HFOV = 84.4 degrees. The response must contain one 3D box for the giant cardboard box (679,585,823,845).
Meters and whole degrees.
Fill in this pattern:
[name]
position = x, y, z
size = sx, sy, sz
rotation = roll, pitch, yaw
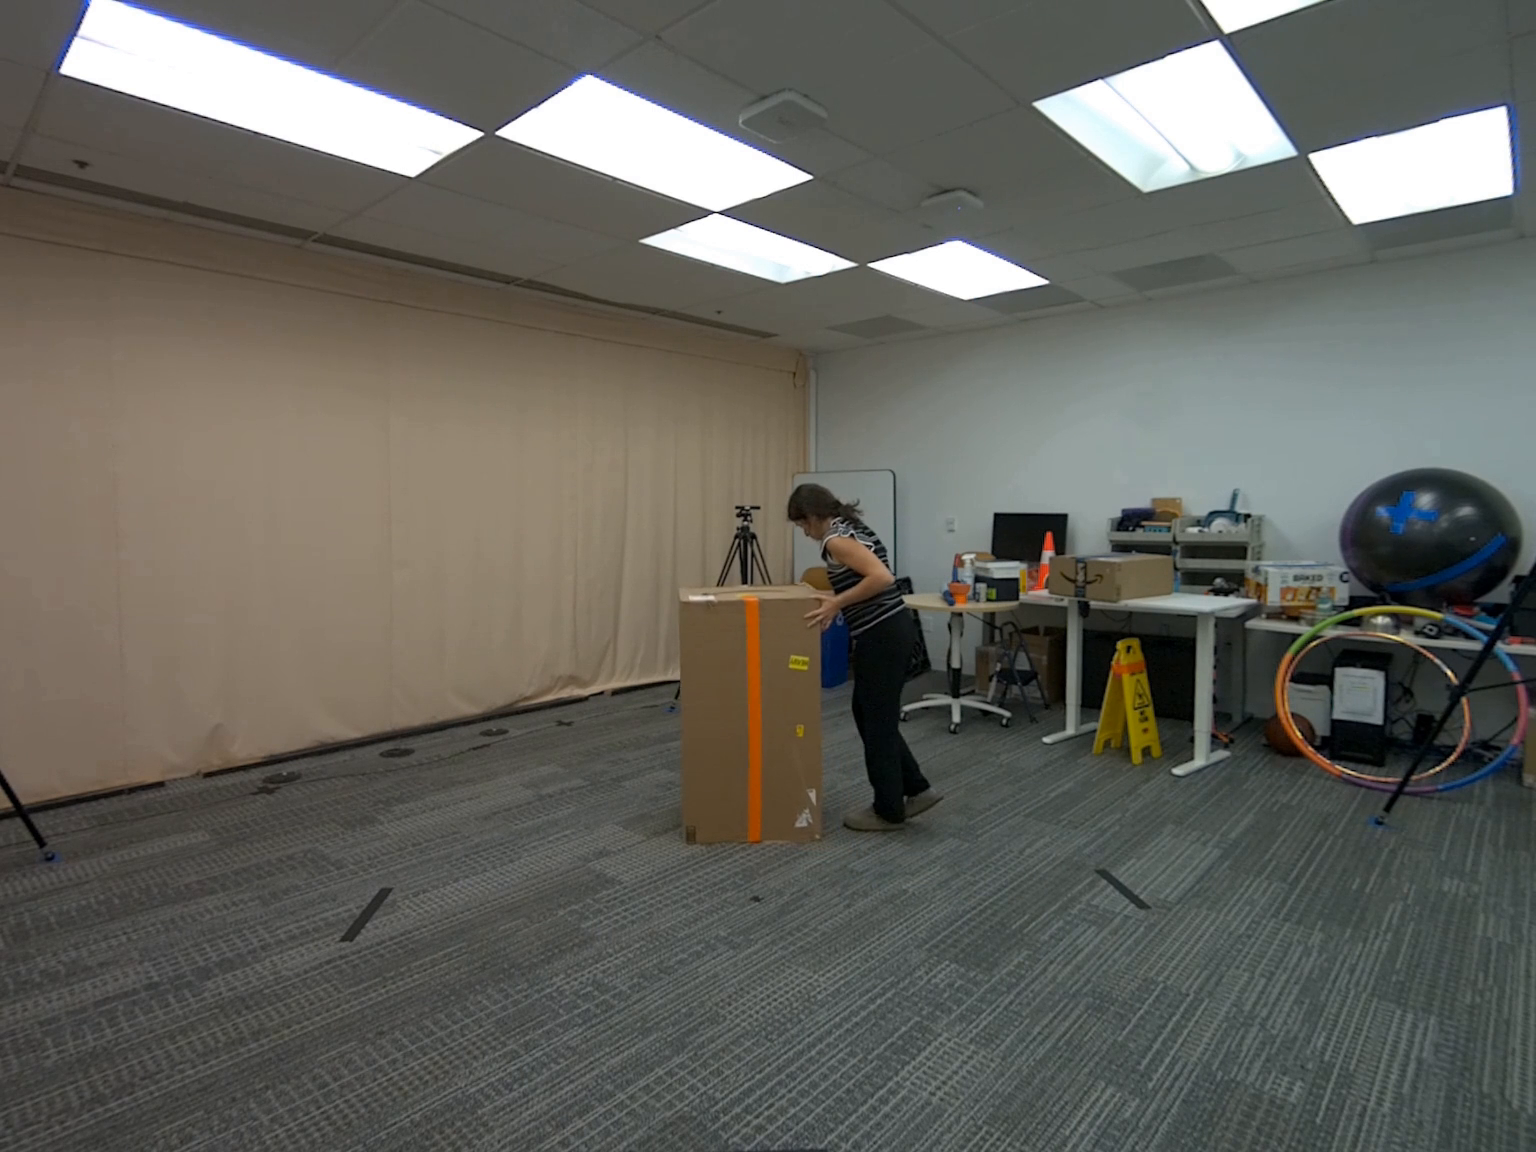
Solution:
[giant cardboard box]
position = -0.082, 0.580, 3.652
size = 0.576, 1.022, 0.428
rotation = 0, 5, -2
